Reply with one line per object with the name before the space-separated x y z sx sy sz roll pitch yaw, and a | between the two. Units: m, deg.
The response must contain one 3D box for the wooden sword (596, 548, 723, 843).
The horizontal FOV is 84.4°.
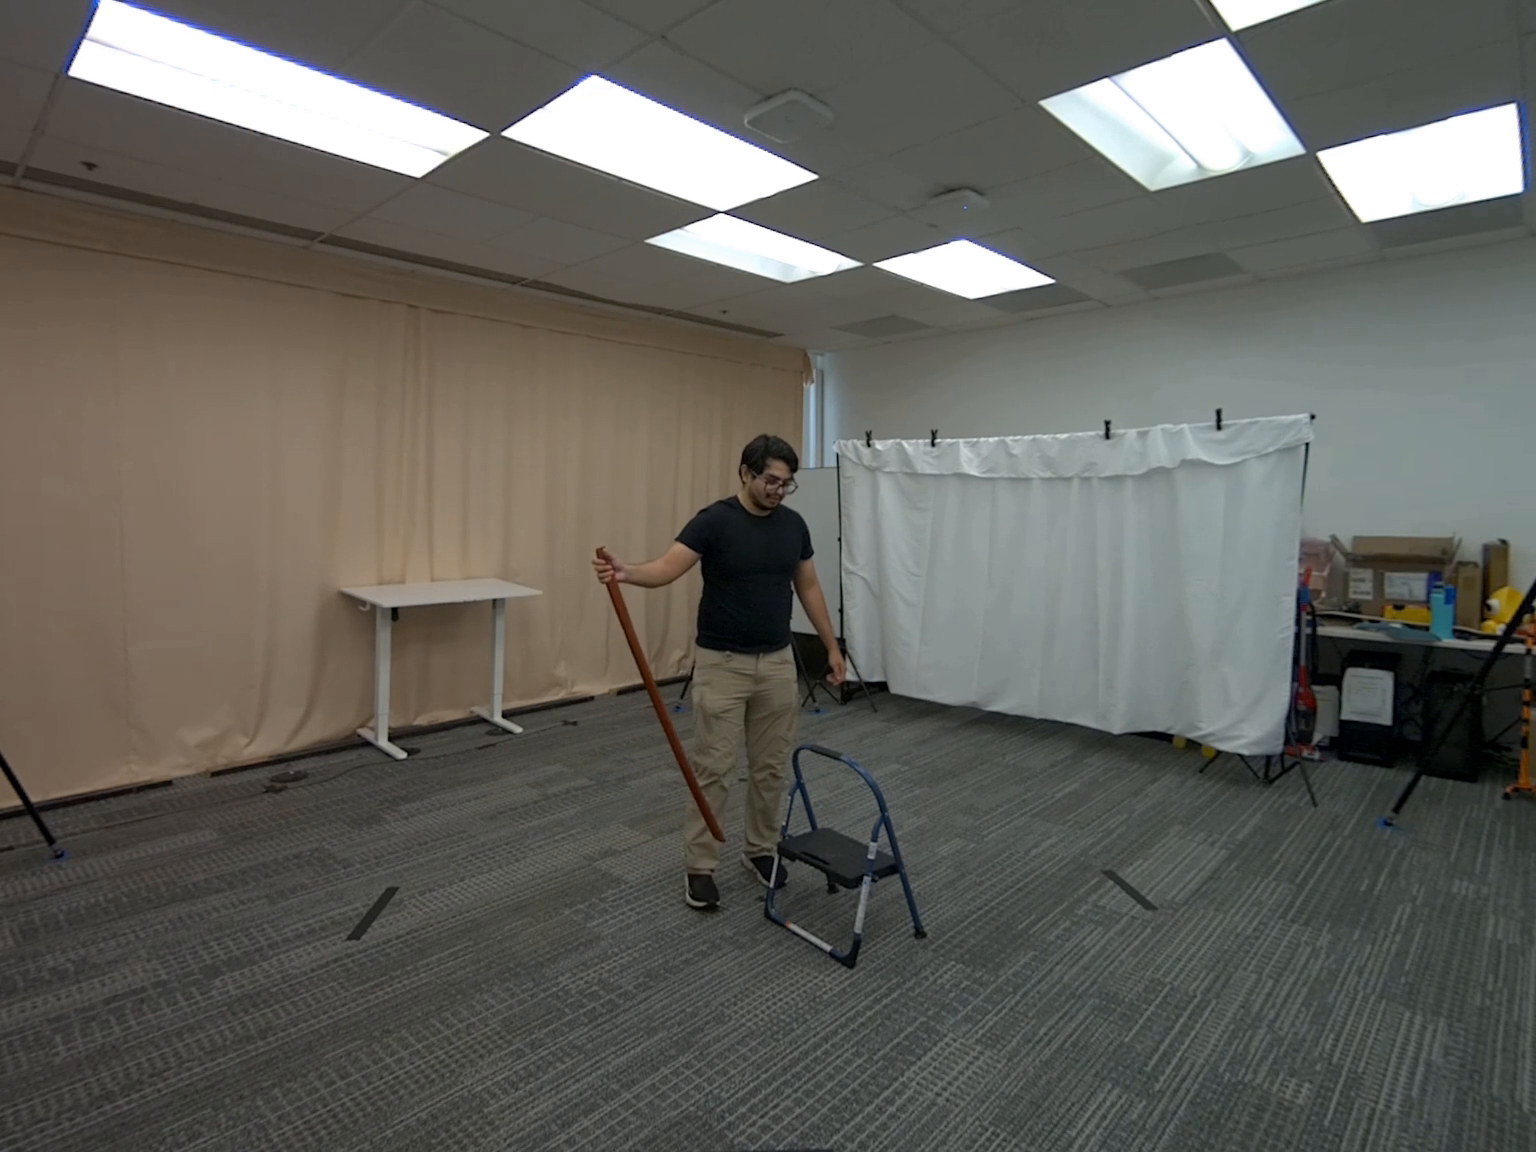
wooden sword | -0.354 0.400 2.687 0.024 1.023 0.051 -19 2 3
